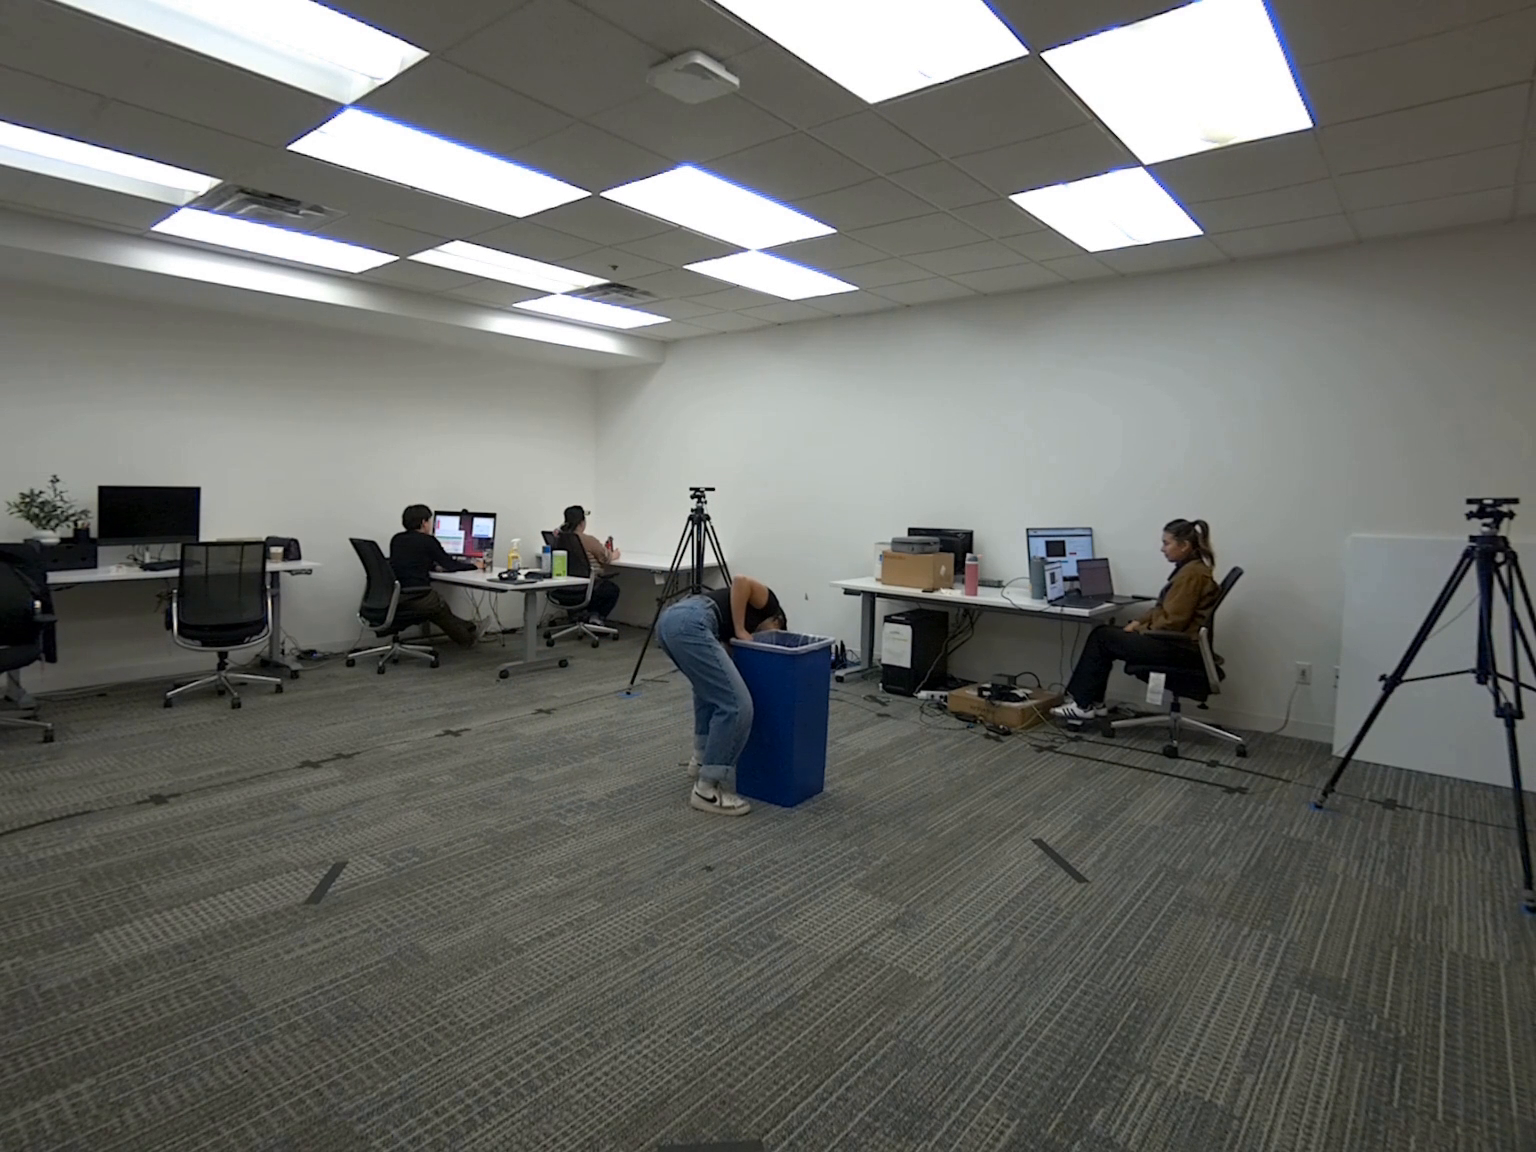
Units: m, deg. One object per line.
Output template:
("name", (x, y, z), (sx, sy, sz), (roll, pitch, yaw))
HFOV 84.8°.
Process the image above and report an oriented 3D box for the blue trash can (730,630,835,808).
("blue trash can", (0.068, 0.637, 3.902), (0.386, 0.711, 0.367), (4, 4, 36))
